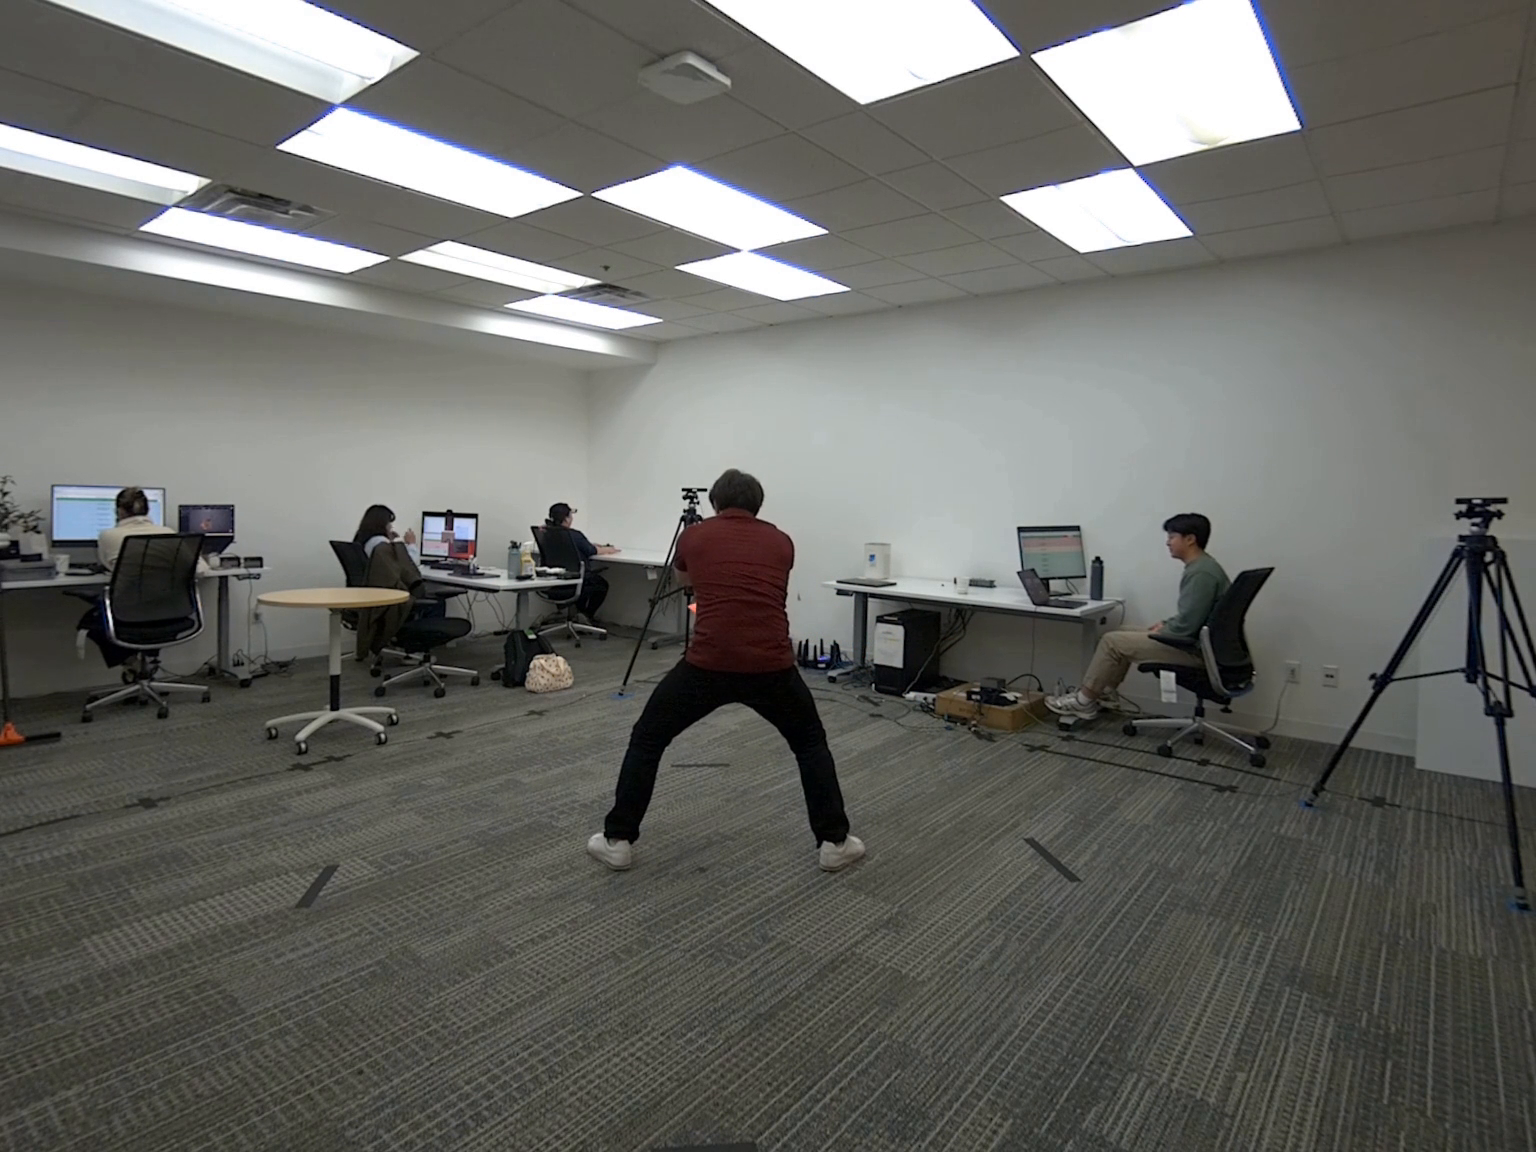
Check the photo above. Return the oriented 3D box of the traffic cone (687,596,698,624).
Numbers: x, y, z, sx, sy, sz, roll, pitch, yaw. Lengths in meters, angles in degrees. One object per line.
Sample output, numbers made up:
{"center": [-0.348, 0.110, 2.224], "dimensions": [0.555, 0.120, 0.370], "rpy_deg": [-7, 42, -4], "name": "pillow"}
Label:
{"center": [-0.217, -0.013, 3.810], "dimensions": [0.200, 0.375, 0.213], "rpy_deg": [-6, 32, -19], "name": "traffic cone"}
